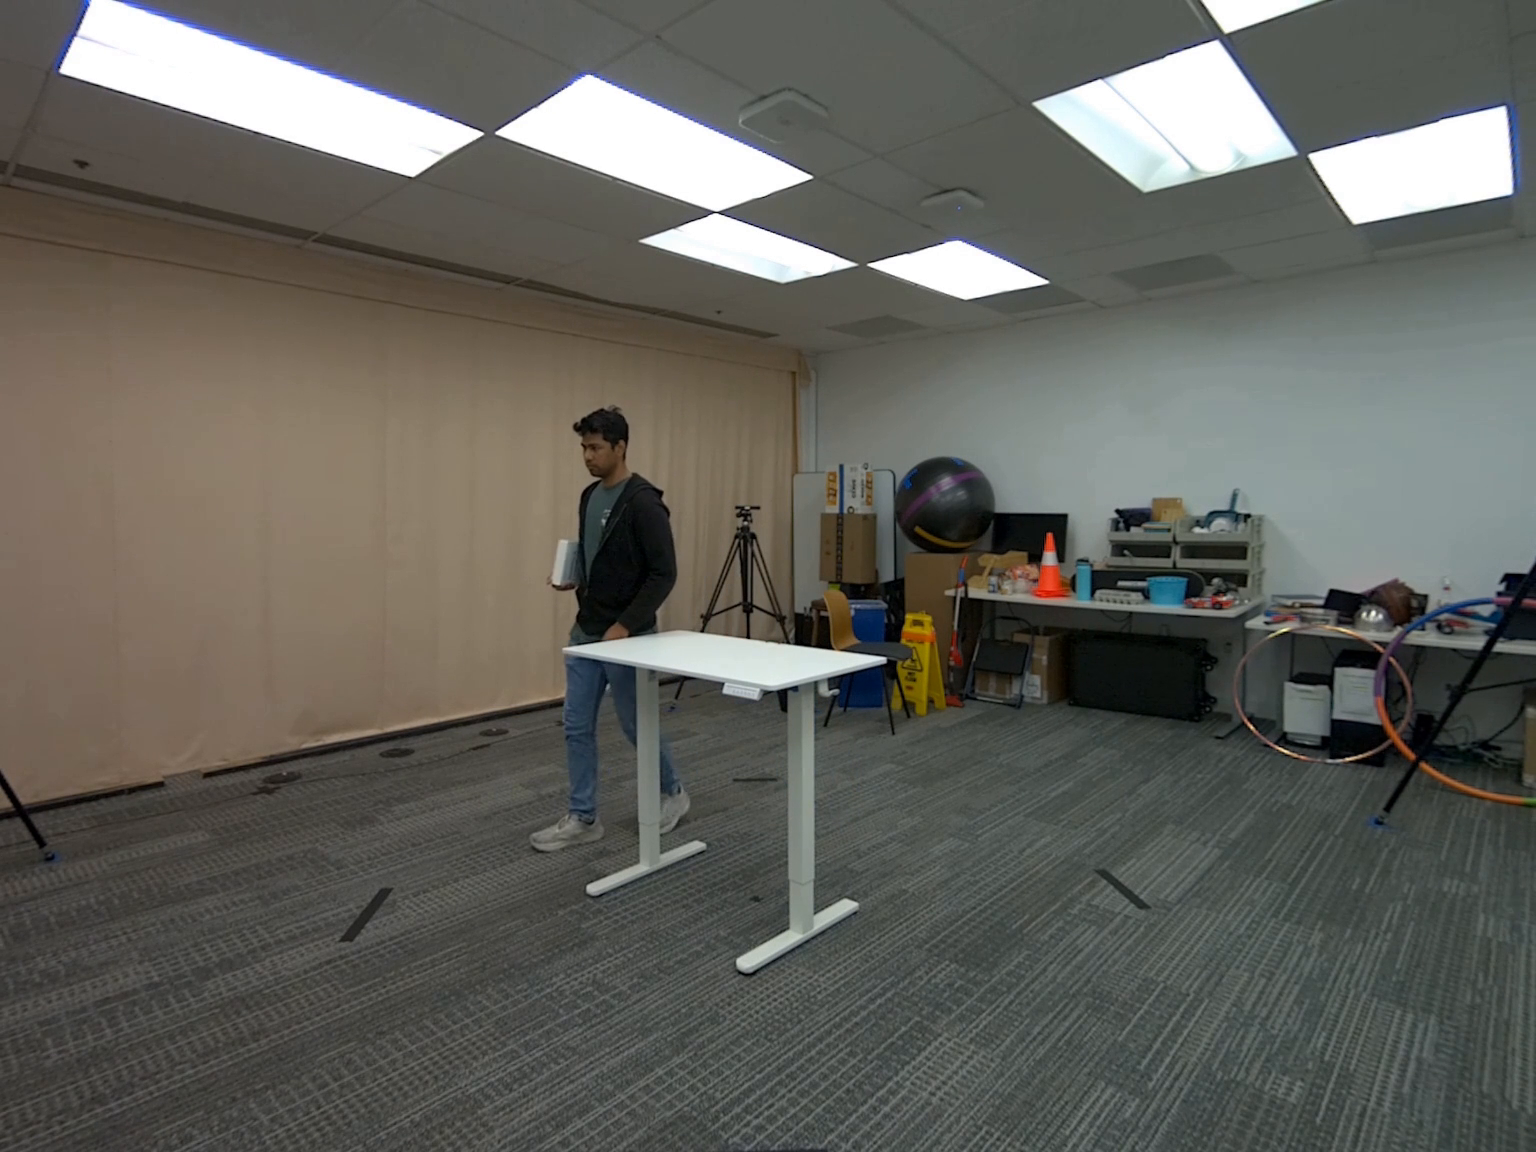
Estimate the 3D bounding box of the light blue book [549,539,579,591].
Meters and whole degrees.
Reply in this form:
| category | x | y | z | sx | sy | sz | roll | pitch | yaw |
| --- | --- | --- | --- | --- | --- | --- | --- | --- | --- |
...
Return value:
| category | x | y | z | sx | sy | sz | roll | pitch | yaw |
| --- | --- | --- | --- | --- | --- | --- | --- | --- | --- |
| light blue book | -0.779 | -0.051 | 3.573 | 0.061 | 0.191 | 0.252 | 13 | 4 | 36 |
